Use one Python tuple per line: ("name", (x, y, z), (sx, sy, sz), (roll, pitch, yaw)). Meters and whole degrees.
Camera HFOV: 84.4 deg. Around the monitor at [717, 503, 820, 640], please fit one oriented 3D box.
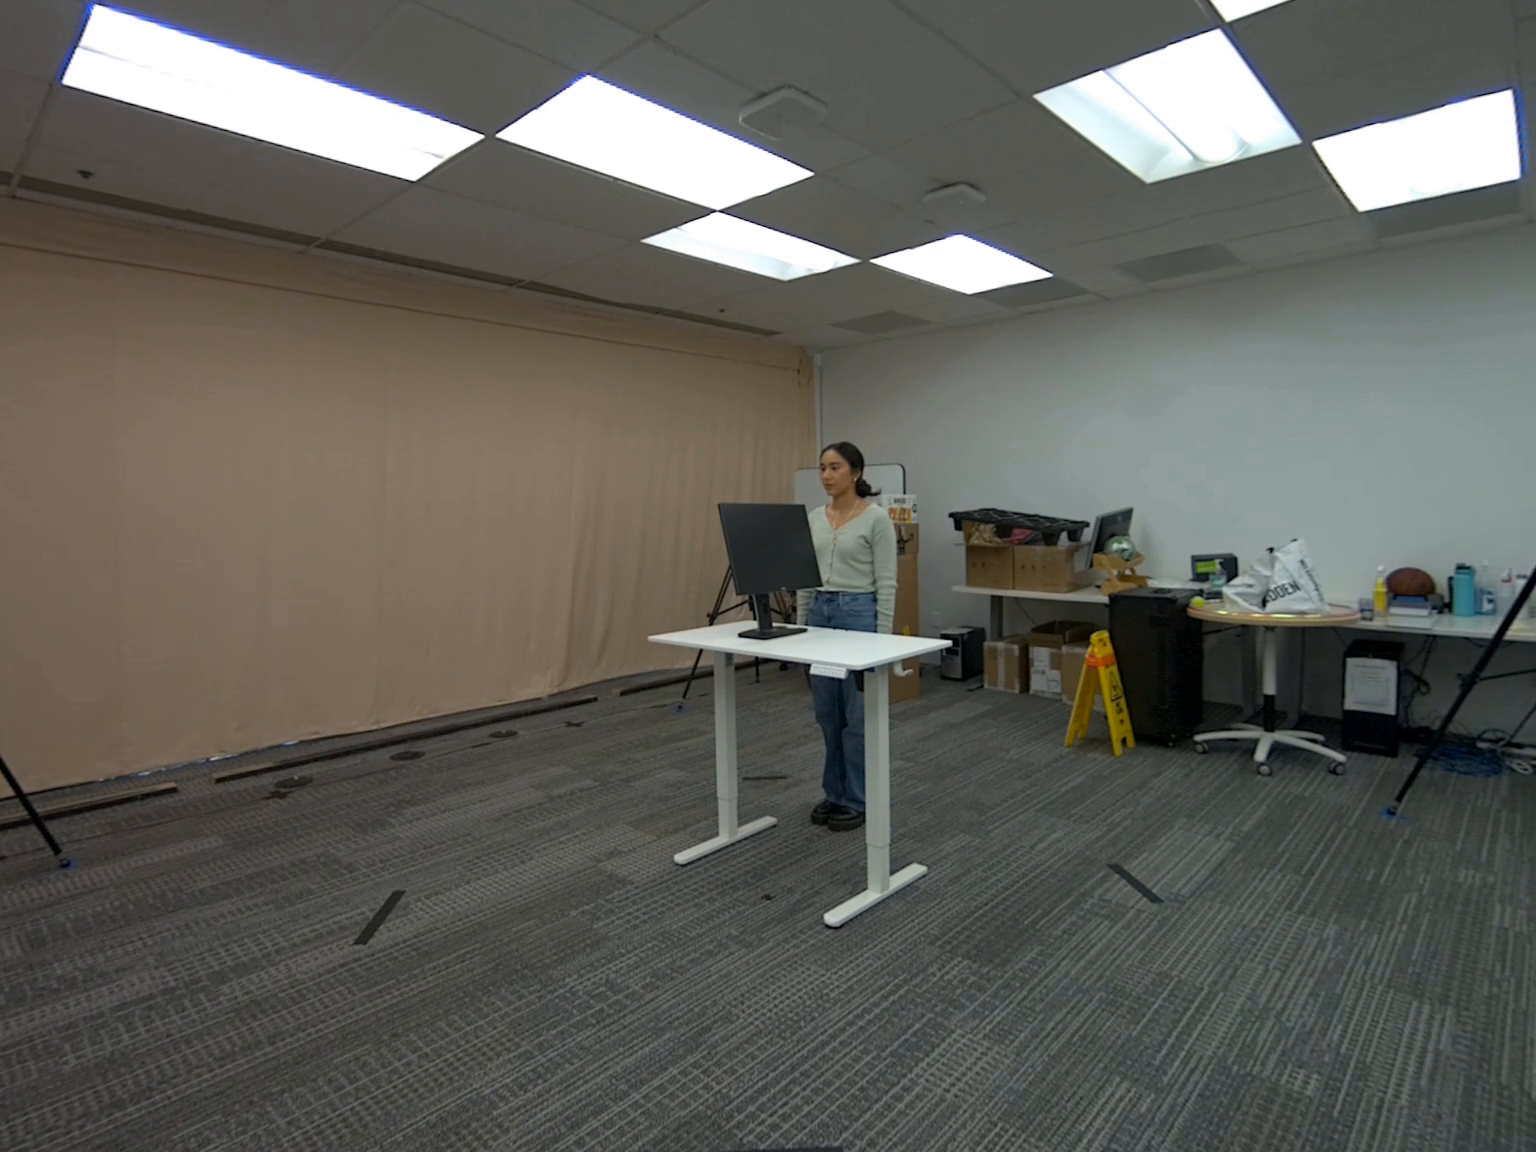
("monitor", (0.009, -0.027, 3.307), (0.180, 0.515, 0.514), (4, 4, 39))
